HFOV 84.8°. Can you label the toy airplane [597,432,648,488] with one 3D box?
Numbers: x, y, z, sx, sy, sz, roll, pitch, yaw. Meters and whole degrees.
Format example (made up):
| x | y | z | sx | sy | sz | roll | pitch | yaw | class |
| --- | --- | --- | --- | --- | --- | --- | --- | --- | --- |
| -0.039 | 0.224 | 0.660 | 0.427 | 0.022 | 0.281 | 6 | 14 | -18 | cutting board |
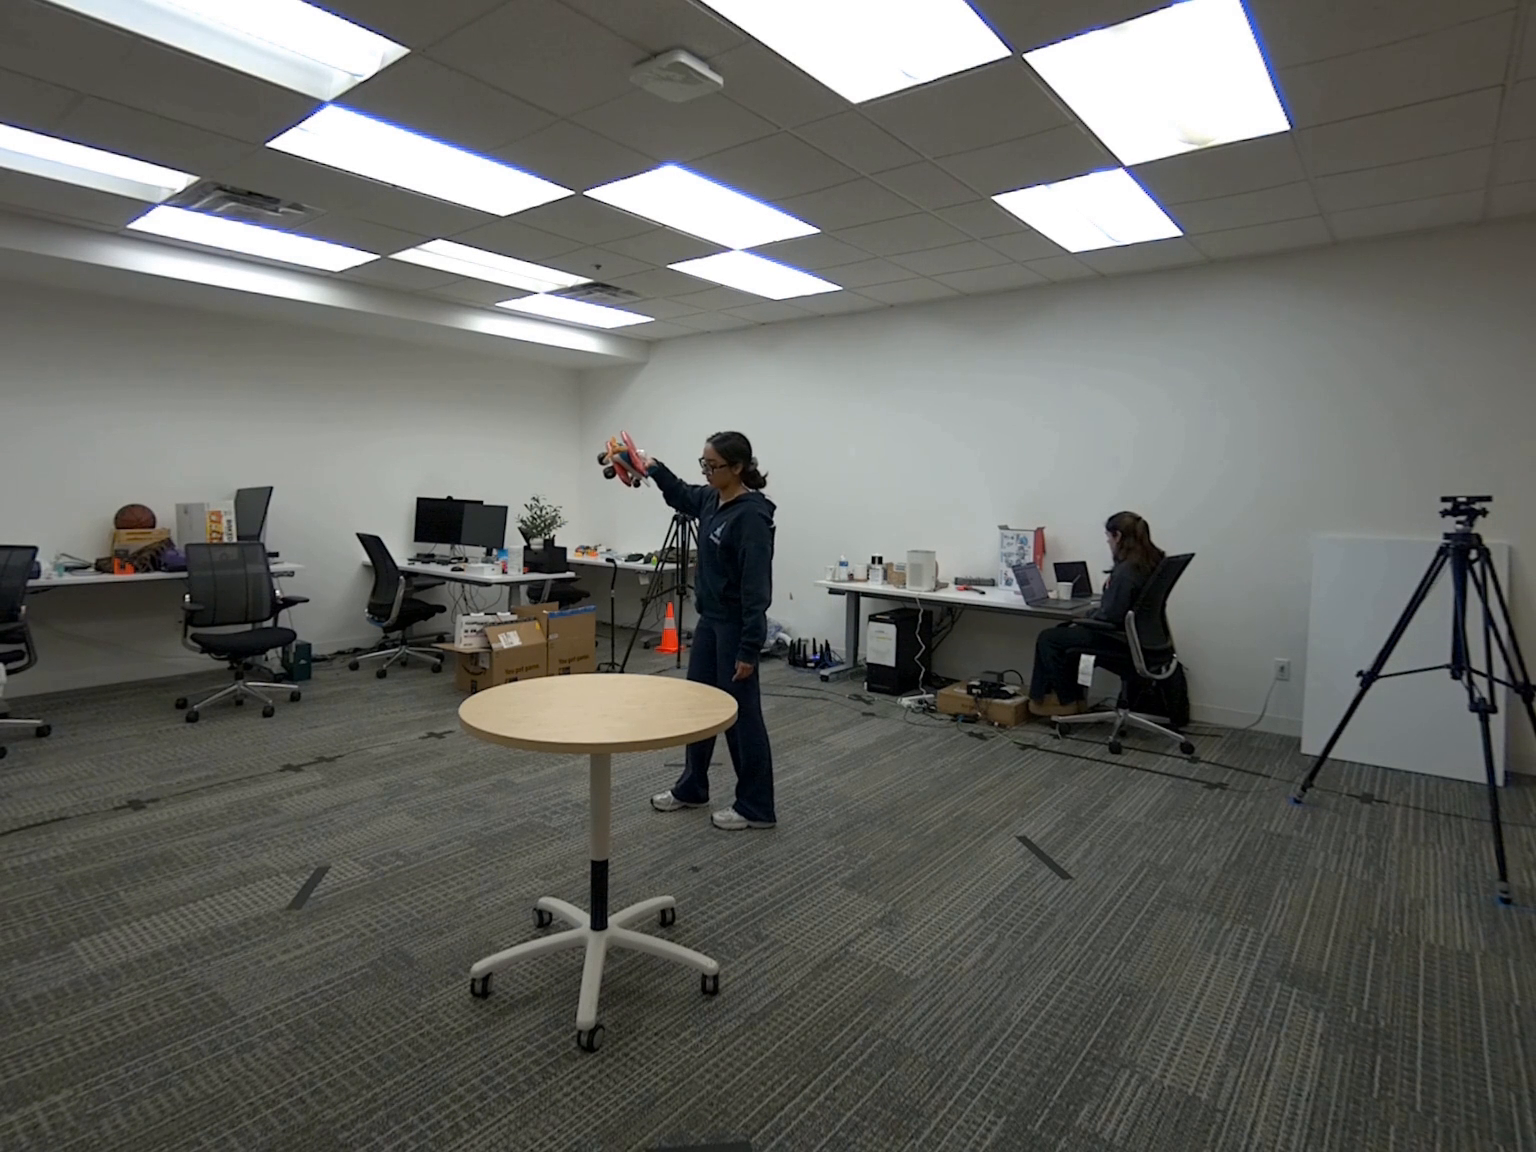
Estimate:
| x | y | z | sx | sy | sz | roll | pitch | yaw | class |
| --- | --- | --- | --- | --- | --- | --- | --- | --- | --- |
| -0.606 | -0.485 | 3.582 | 0.157 | 0.255 | 0.255 | -43 | -11 | 22 | toy airplane |
